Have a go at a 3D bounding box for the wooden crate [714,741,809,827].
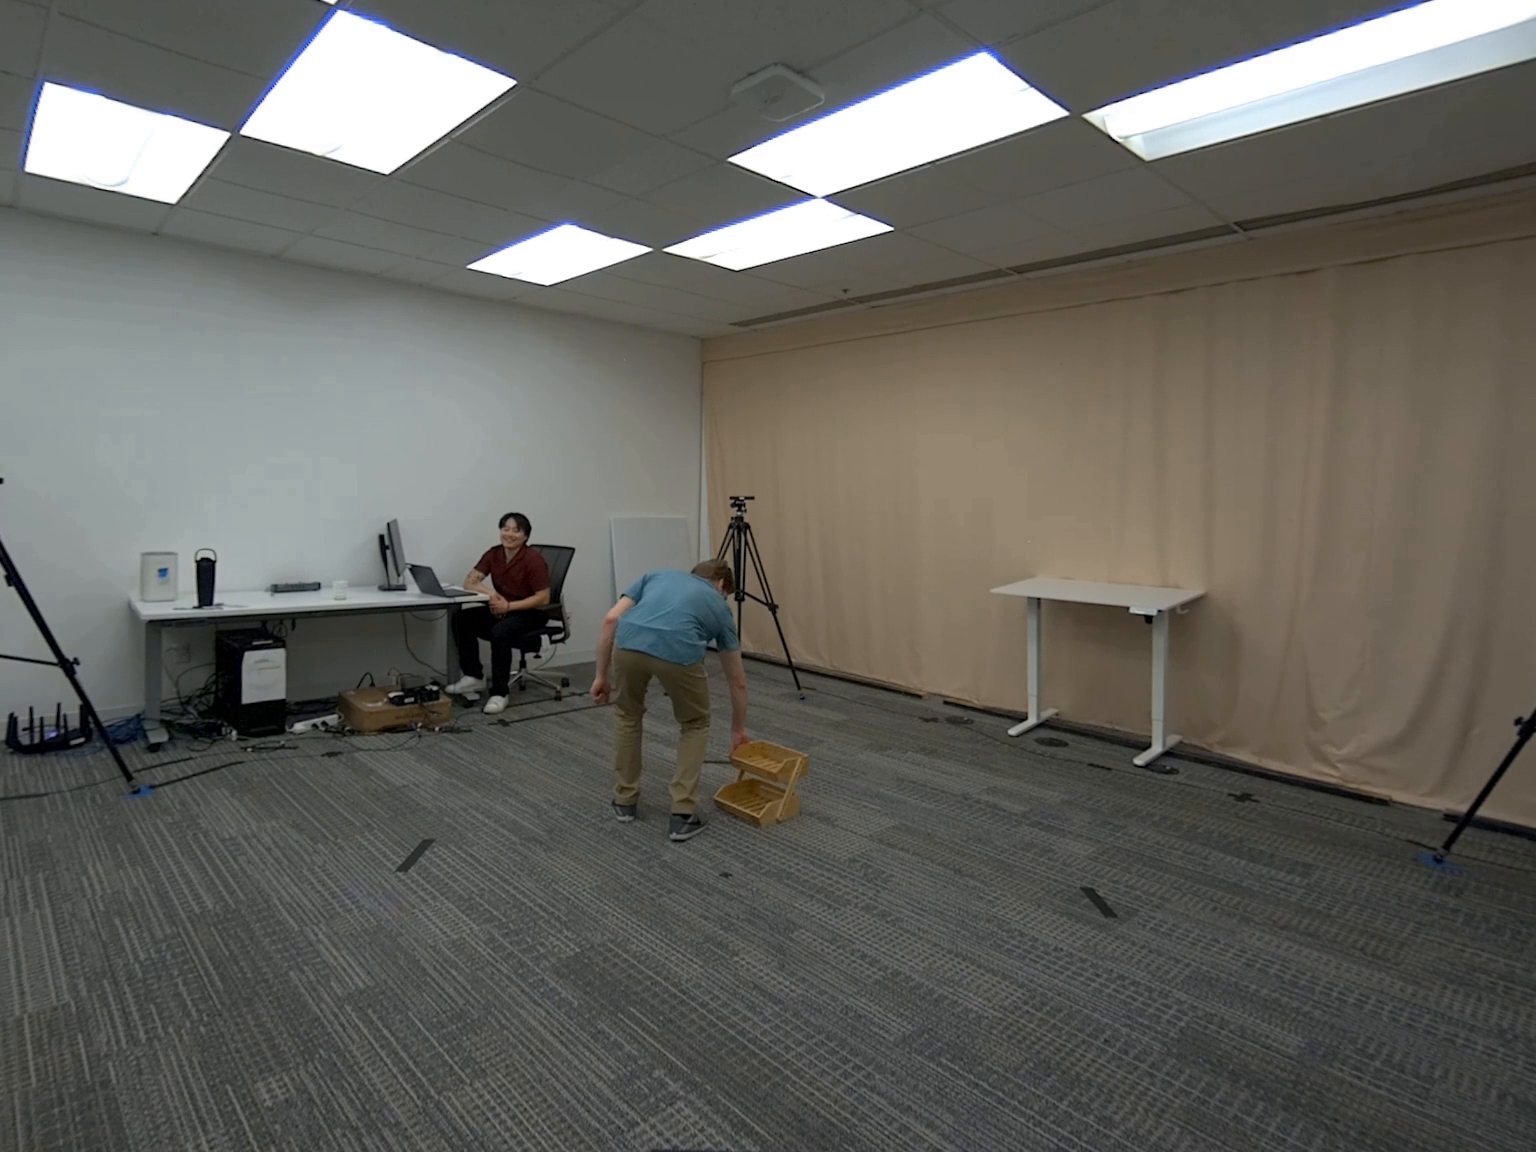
[{"bbox_3d":[-0.047,0.914,3.765,0.295,0.273,0.333,-1,5,-44],"label":"wooden crate"}]
